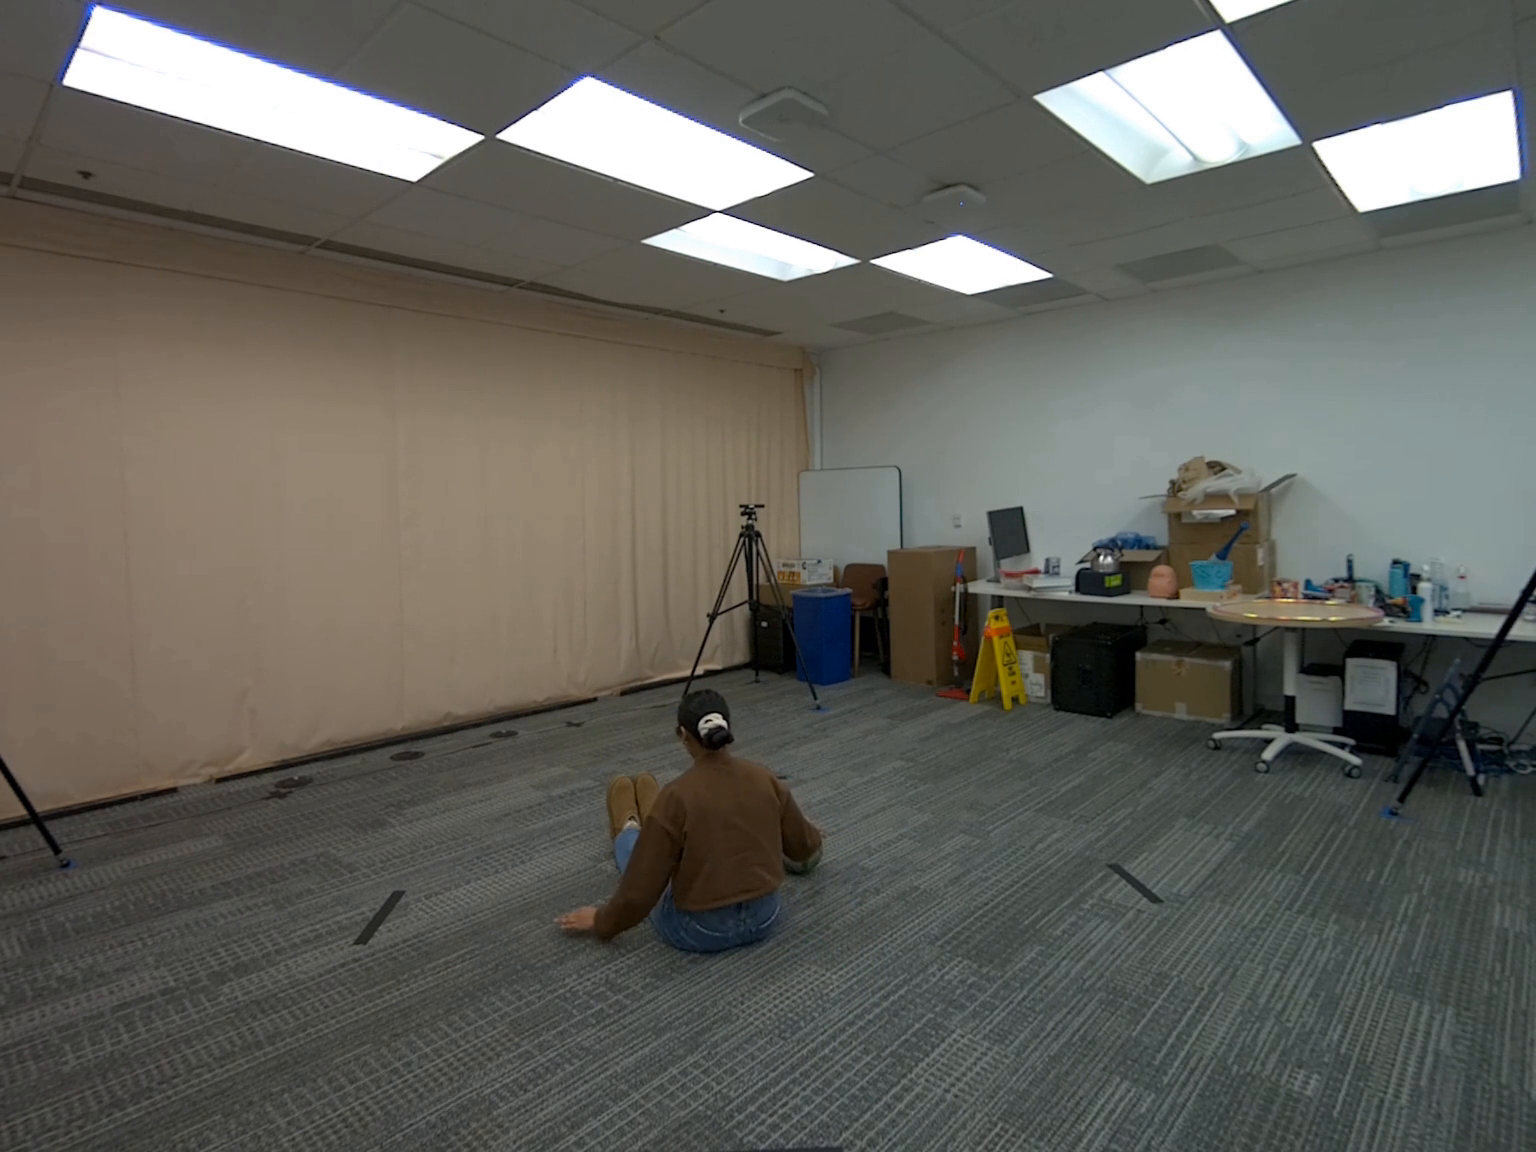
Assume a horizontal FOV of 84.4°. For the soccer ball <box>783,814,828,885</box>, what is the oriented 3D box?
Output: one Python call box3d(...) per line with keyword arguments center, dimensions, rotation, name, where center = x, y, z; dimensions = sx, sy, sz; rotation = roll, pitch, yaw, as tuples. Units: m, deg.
box3d(center=(0.117, 1.025, 3.191), dimensions=(0.187, 0.187, 0.188), rotation=(-1, 4, -2), name="soccer ball")
